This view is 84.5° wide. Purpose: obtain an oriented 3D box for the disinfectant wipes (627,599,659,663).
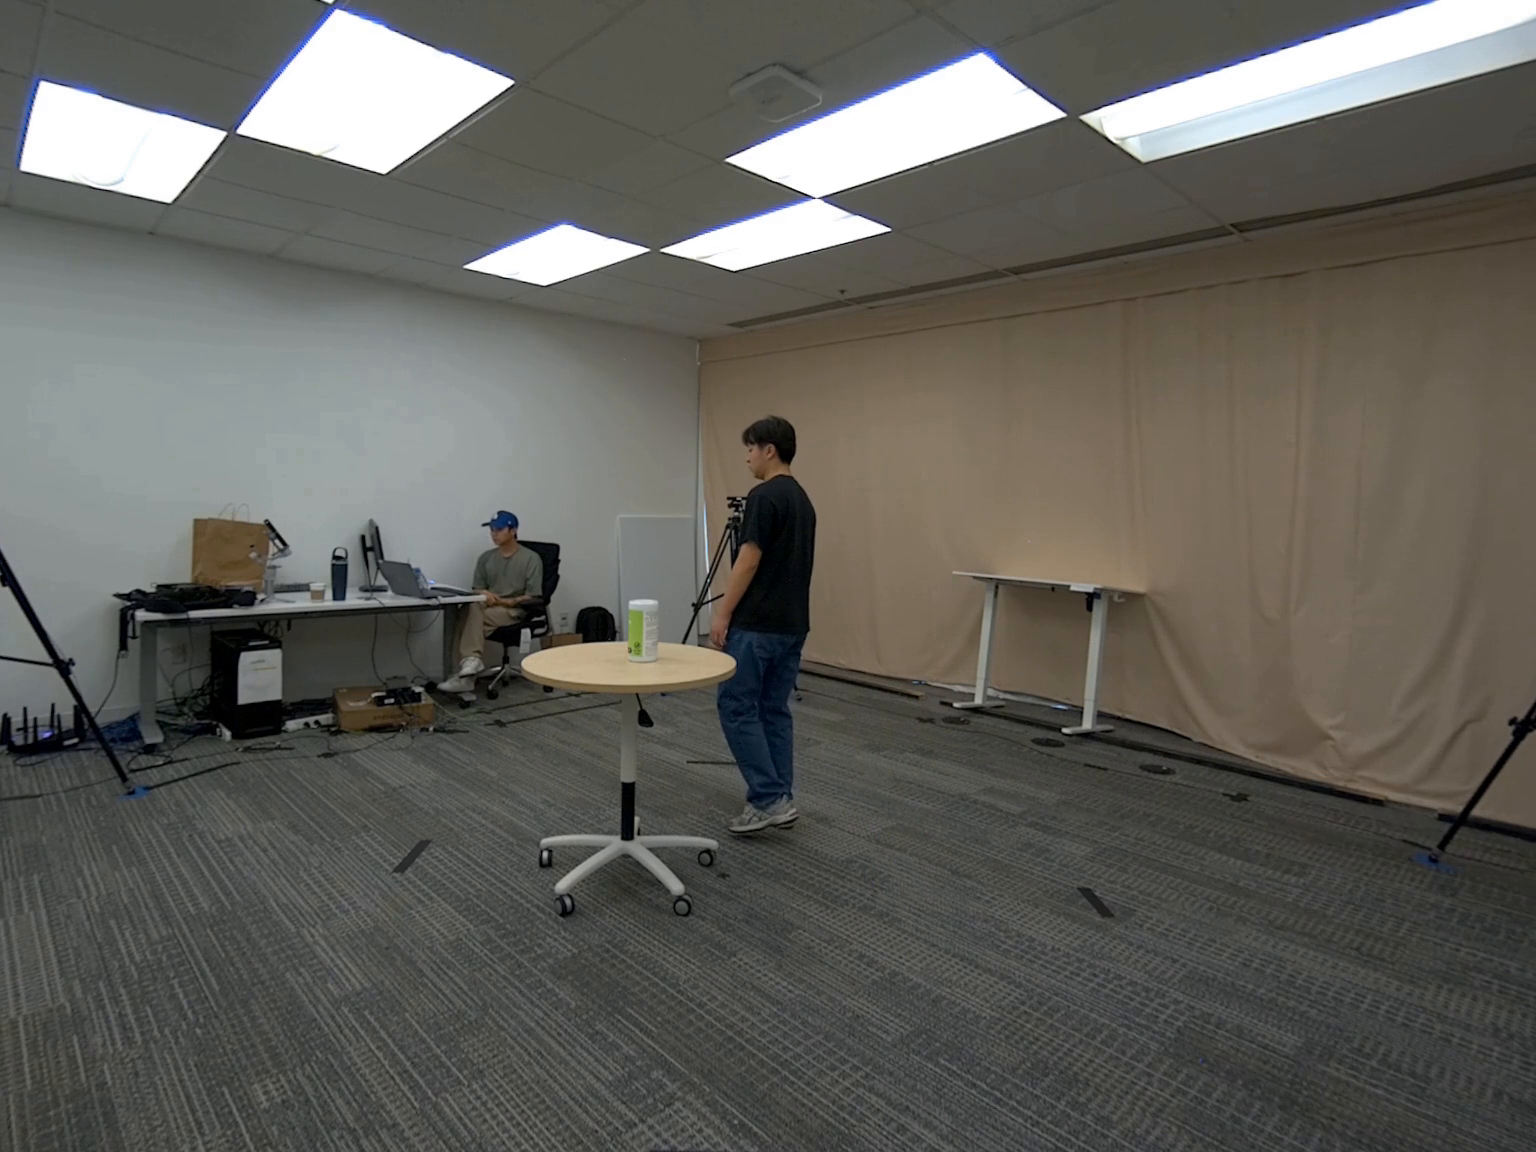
[{"bbox_3d":[-0.457,0.203,3.049,0.118,0.217,0.118,1,3,-1],"label":"disinfectant wipes"}]
